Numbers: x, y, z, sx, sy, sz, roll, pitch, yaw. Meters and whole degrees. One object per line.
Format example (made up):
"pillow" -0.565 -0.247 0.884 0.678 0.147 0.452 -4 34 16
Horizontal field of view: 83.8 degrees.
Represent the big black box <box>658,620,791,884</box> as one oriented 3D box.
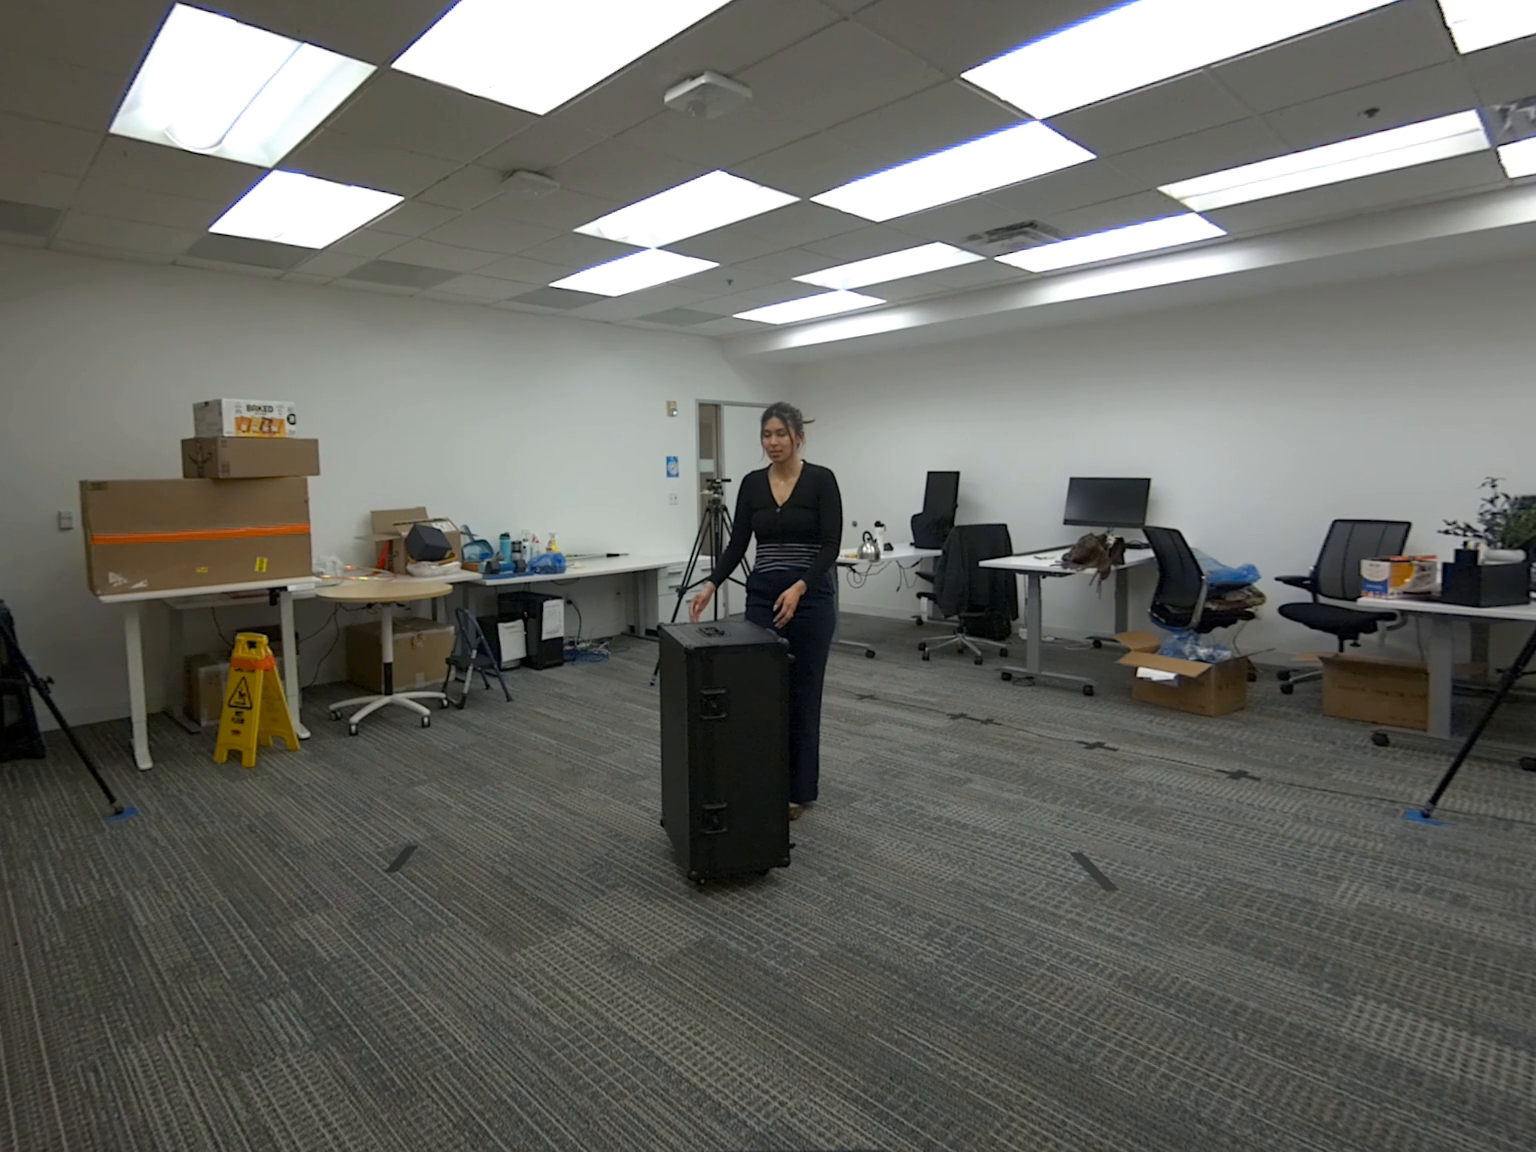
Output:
"big black box" -0.164 0.562 3.077 0.390 0.859 0.531 -2 4 -18
